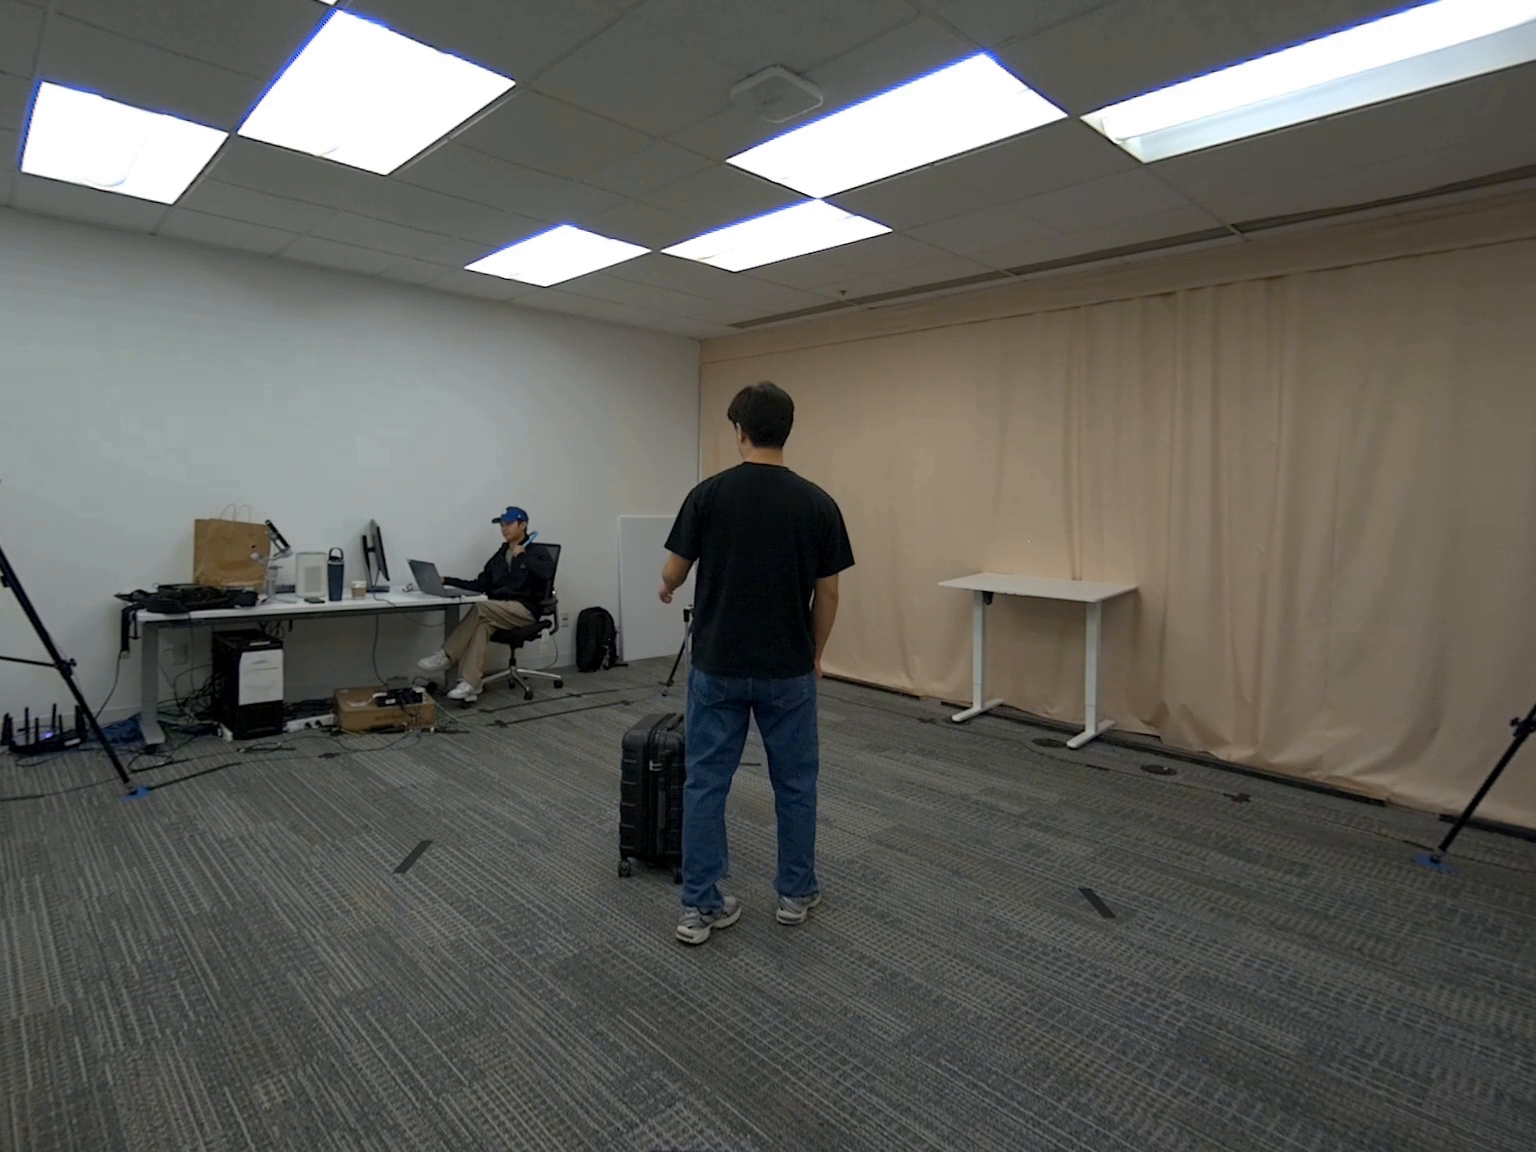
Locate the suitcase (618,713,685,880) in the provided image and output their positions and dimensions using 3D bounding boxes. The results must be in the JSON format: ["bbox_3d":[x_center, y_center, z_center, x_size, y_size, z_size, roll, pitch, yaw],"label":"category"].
[{"bbox_3d":[-0.411,0.612,3.214,0.259,0.977,0.381,1,2,9],"label":"suitcase"}]
